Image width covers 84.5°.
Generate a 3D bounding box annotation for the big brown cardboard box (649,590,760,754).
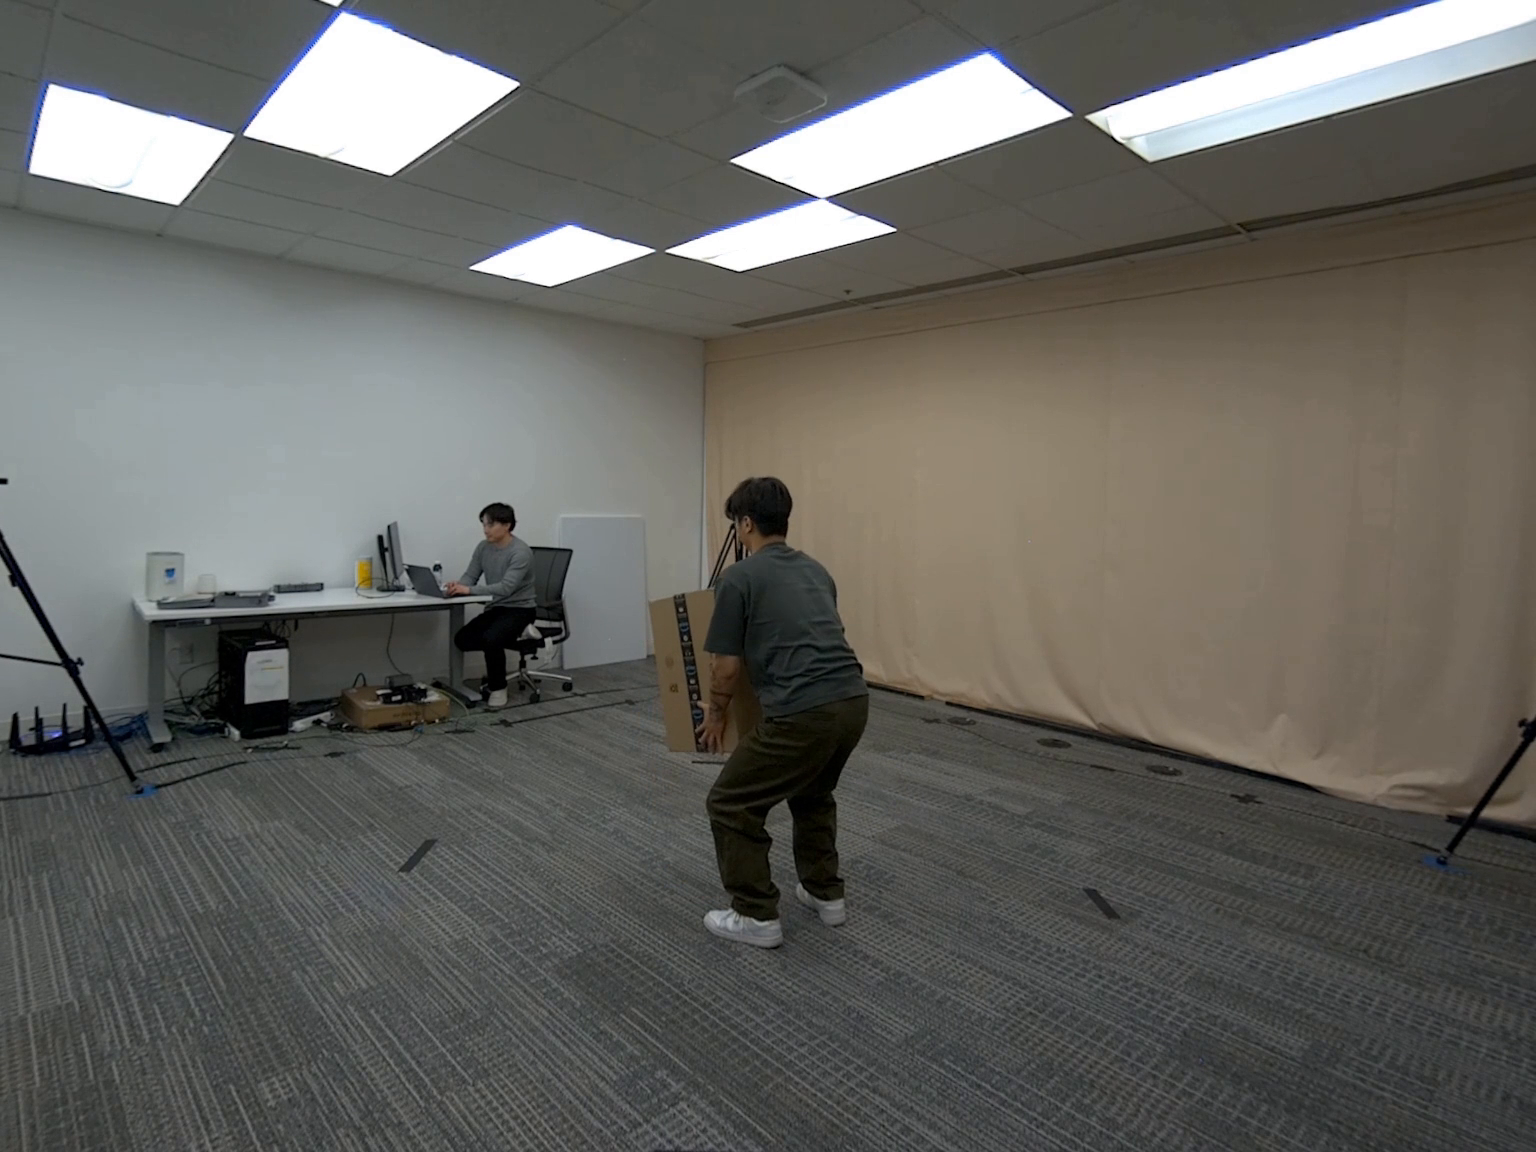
[{"bbox_3d":[-0.203,0.334,3.053,0.228,0.591,0.425,-3,-6,-42],"label":"big brown cardboard box"}]
